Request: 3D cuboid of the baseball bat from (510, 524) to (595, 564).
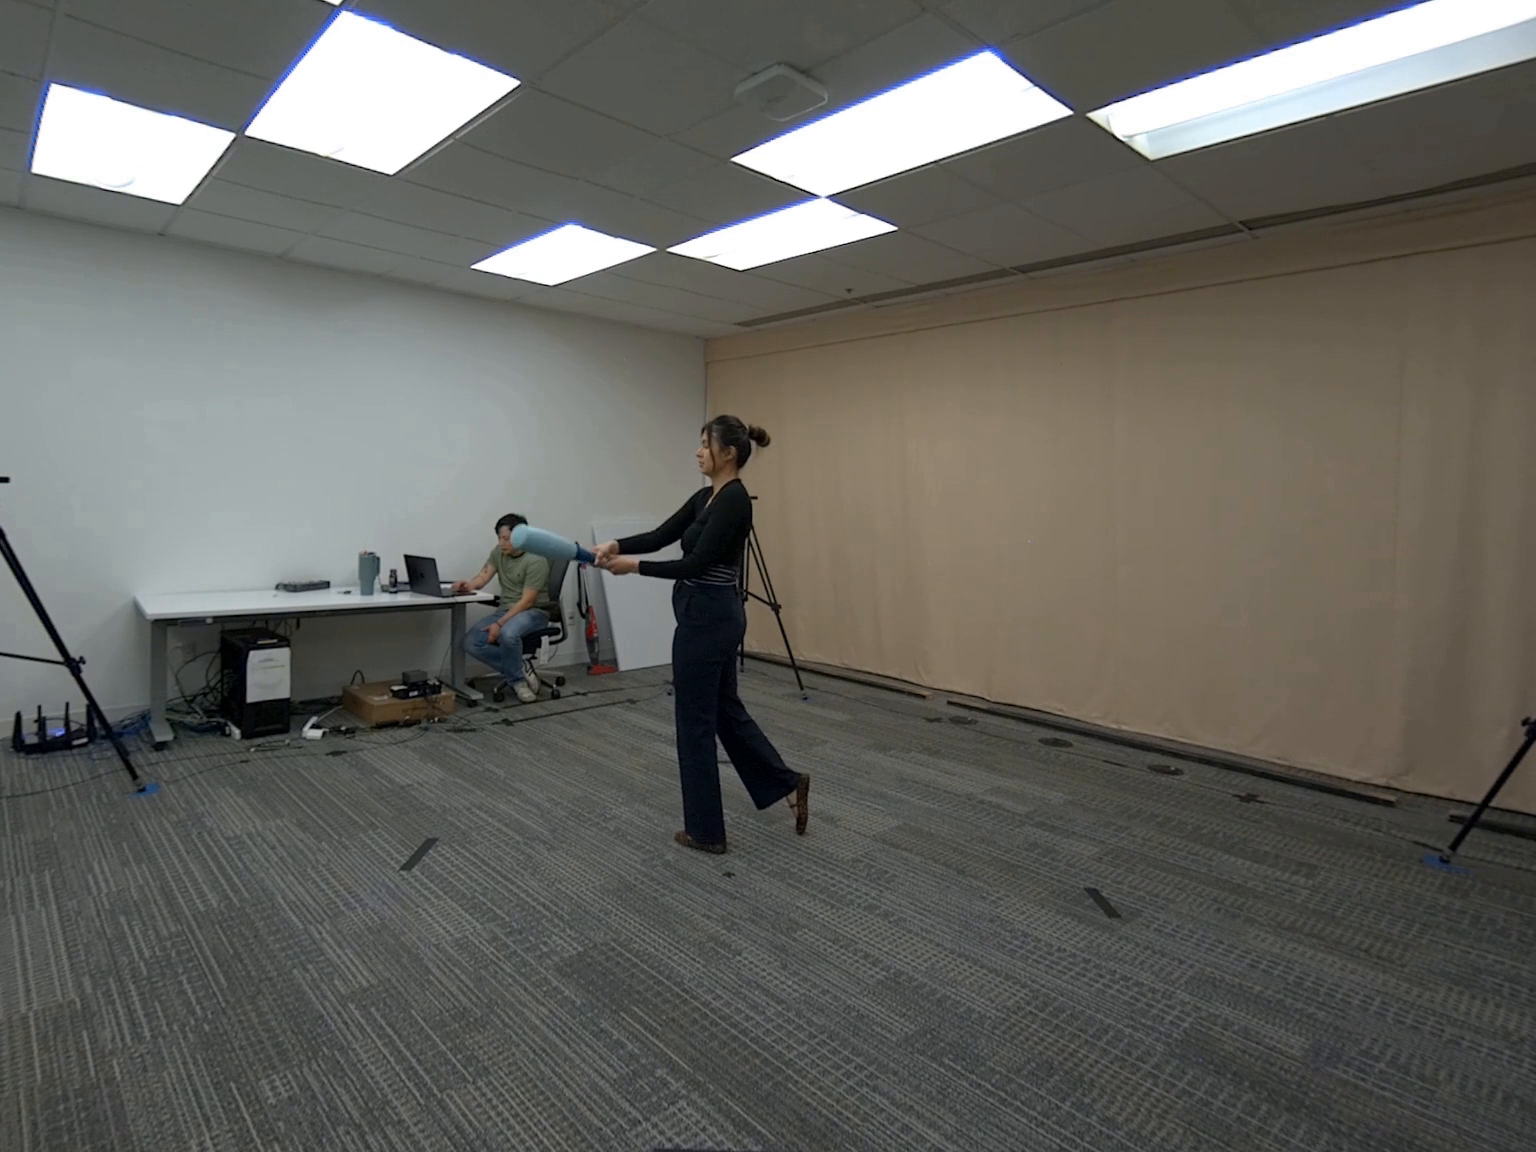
[{"bbox_3d":[-0.711,-0.083,3.011,0.091,0.089,0.528,4,-9,33],"label":"baseball bat"}]
